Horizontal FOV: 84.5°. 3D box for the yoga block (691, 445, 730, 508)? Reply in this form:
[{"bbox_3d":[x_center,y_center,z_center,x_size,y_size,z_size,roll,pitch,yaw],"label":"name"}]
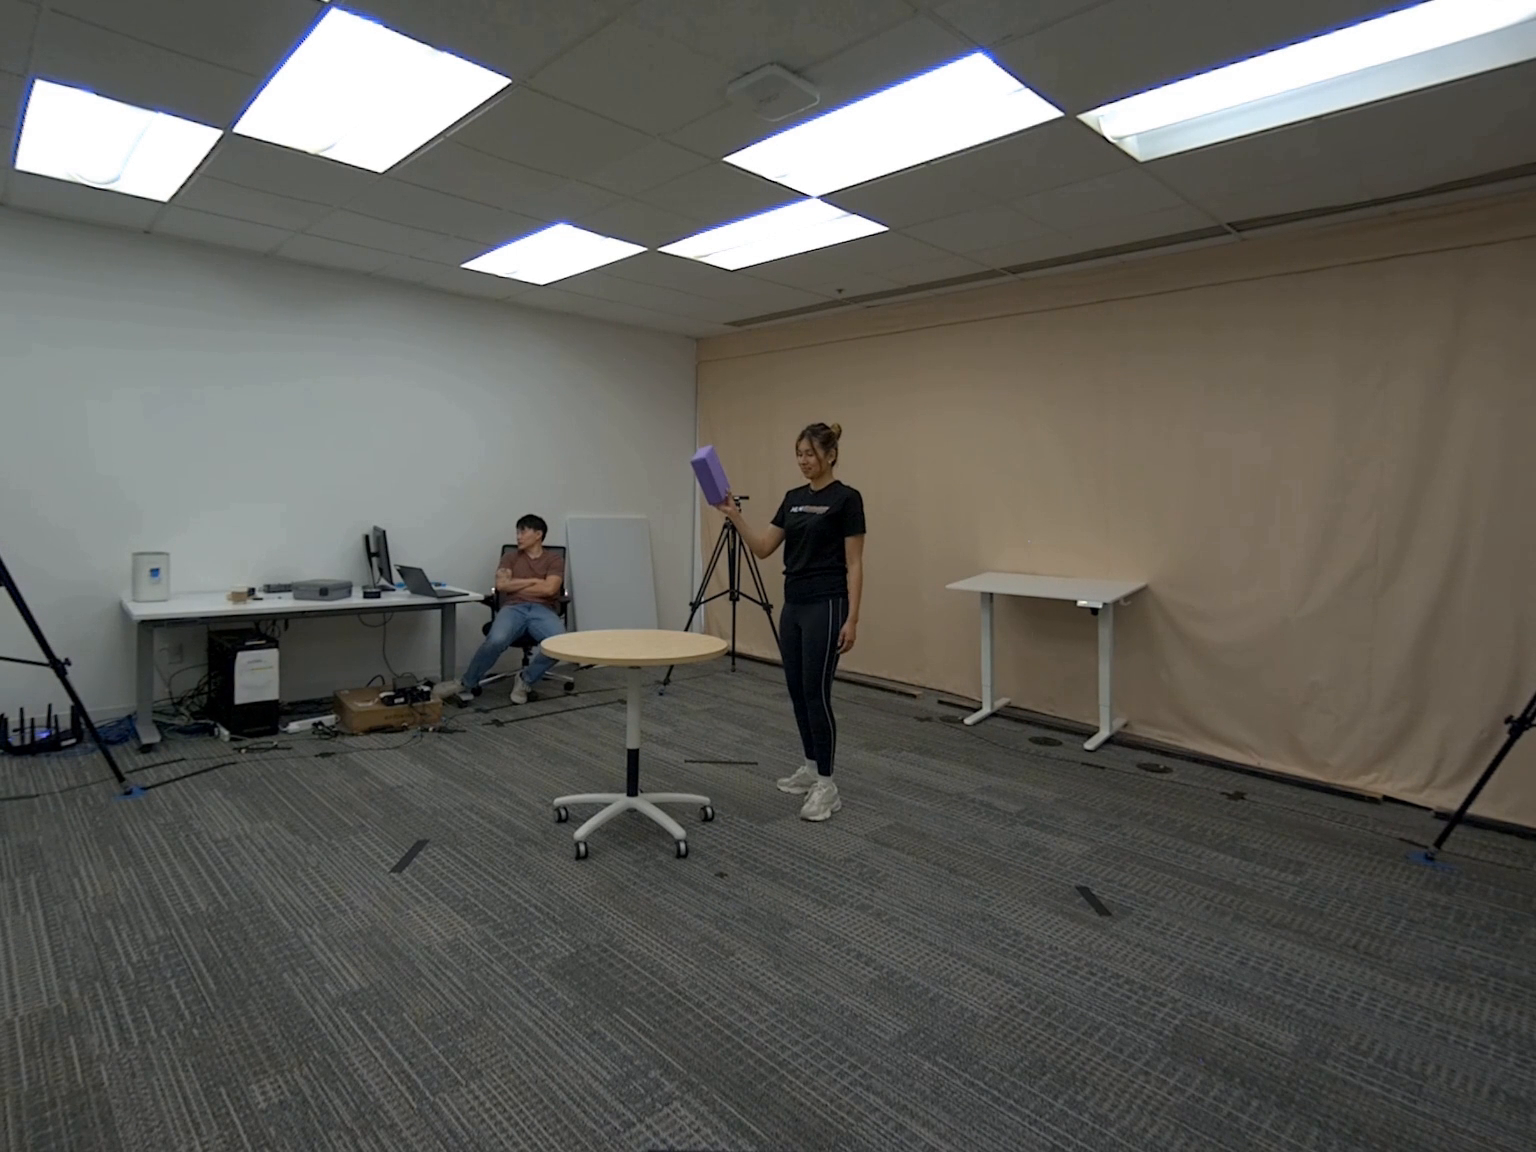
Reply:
[{"bbox_3d":[-0.268,-0.459,3.804,0.077,0.224,0.150,-13,26,22],"label":"yoga block"}]
